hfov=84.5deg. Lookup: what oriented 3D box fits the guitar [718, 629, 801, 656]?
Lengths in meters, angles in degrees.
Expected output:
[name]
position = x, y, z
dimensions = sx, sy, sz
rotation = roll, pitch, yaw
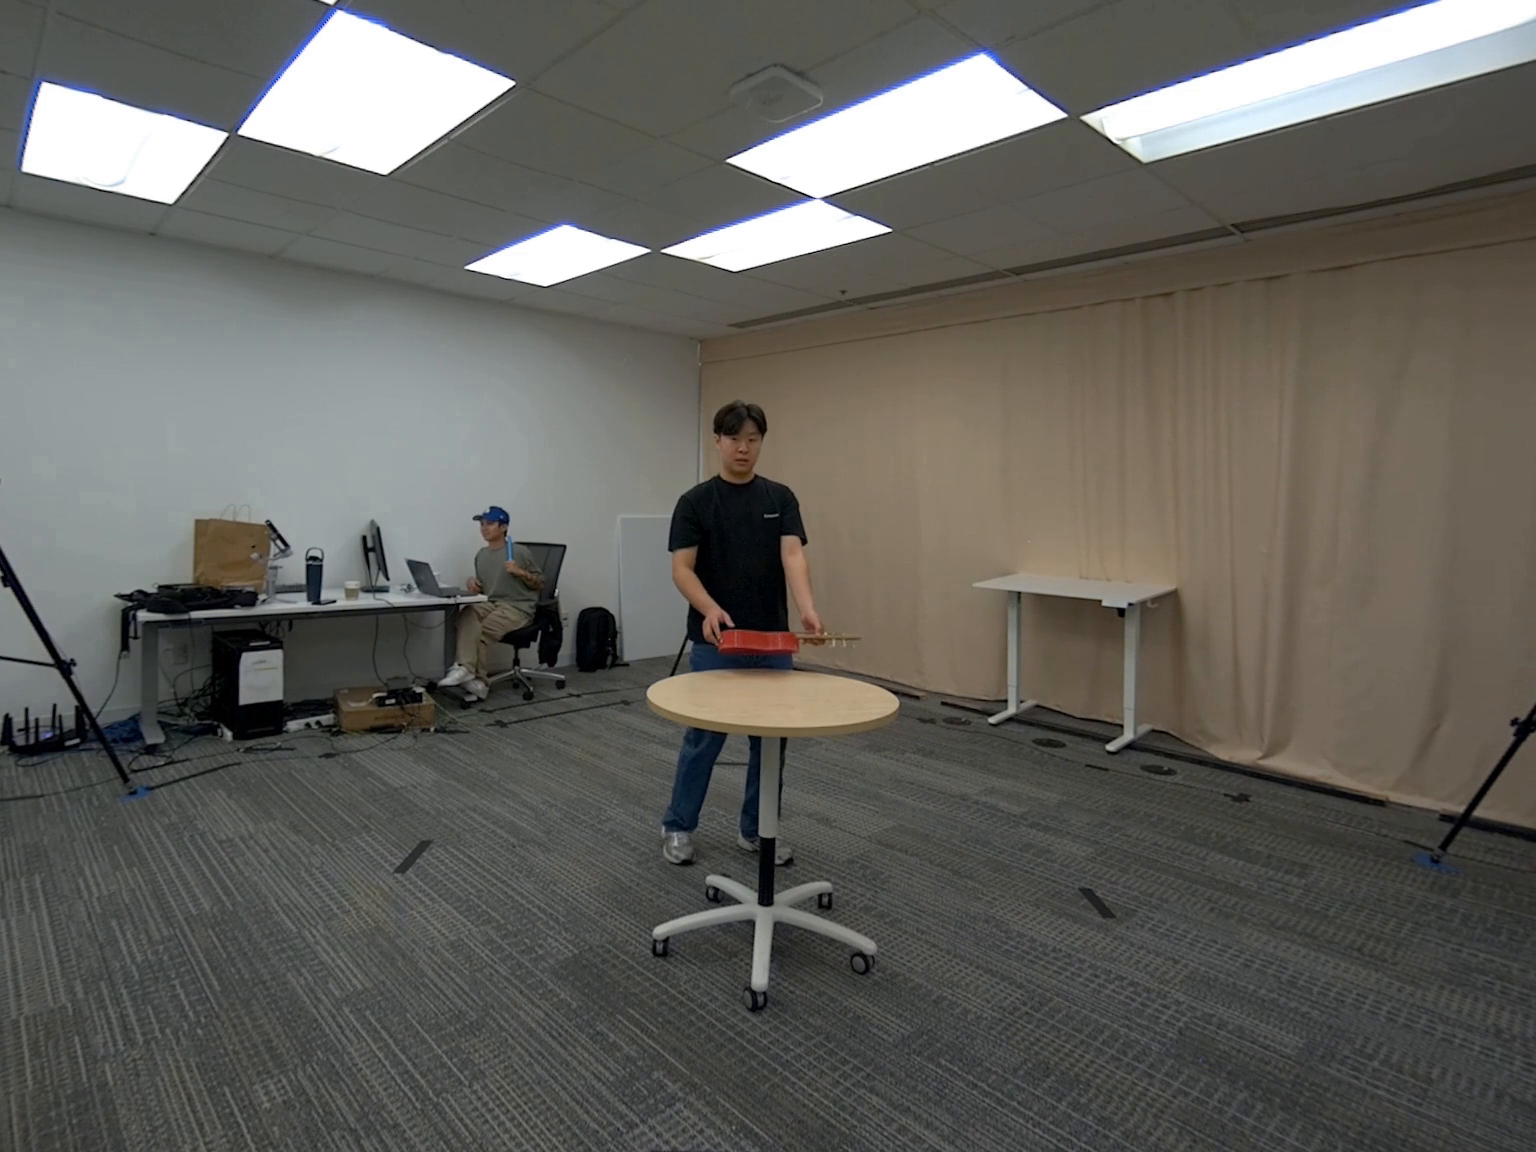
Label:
[guitar]
position = 0.069, 0.228, 2.889
dimensions = 0.498, 0.071, 0.191
rotation = 0, -14, 1
